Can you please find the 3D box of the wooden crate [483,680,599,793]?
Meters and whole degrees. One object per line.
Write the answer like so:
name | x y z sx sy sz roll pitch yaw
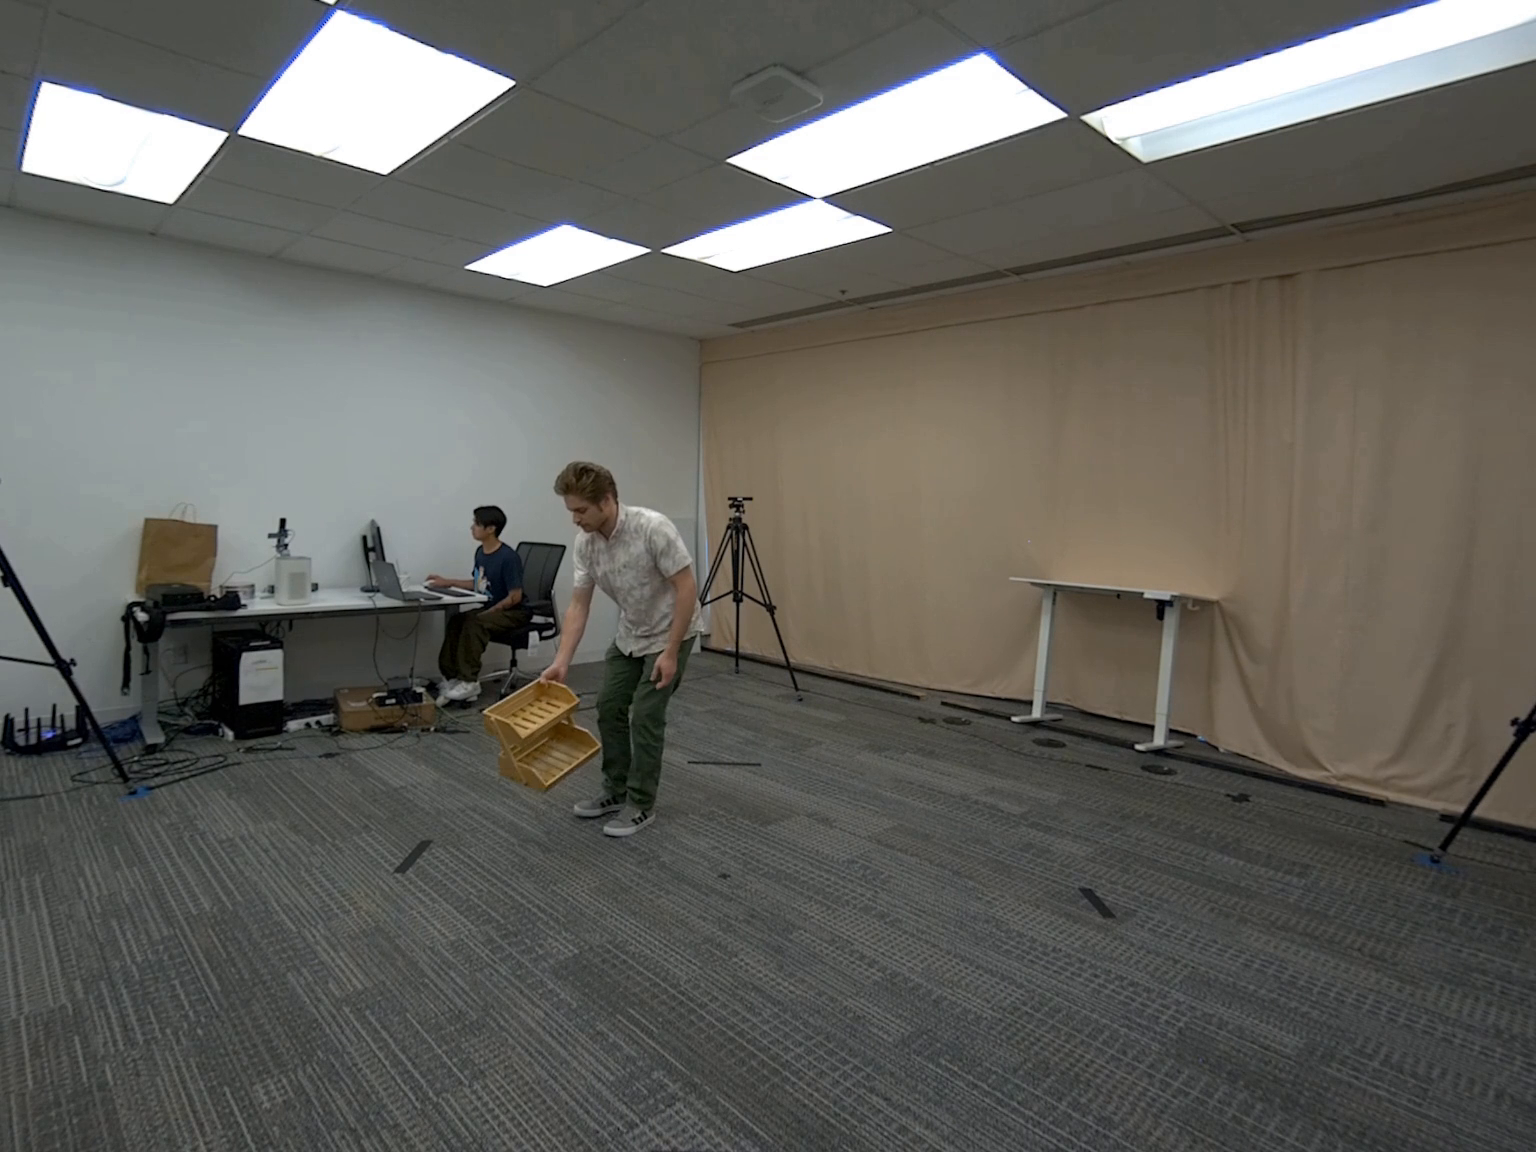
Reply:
wooden crate | -0.864 0.605 3.201 0.309 0.269 0.321 10 23 31
